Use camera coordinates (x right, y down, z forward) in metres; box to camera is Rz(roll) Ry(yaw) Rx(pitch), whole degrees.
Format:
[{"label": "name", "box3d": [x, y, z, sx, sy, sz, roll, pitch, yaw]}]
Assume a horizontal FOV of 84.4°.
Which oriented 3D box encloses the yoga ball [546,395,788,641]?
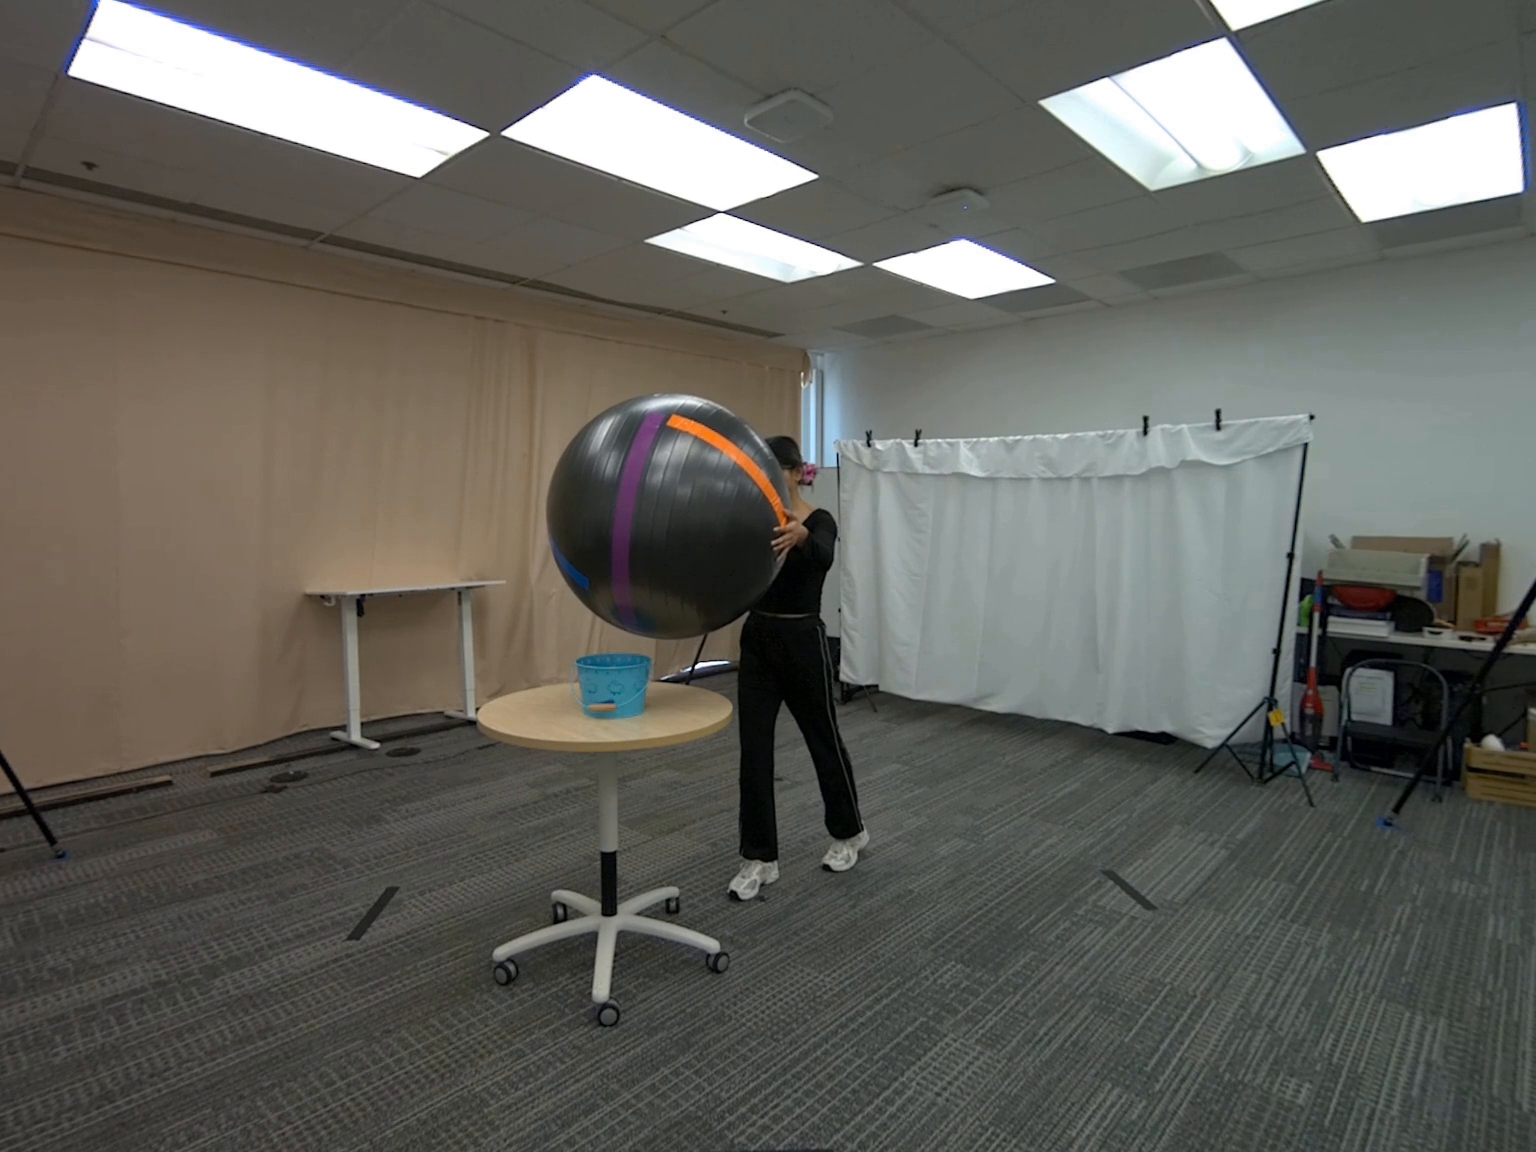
[{"label": "yoga ball", "box3d": [-0.311, -0.179, 2.612, 0.757, 0.756, 0.760, 0, 4, -2]}]
